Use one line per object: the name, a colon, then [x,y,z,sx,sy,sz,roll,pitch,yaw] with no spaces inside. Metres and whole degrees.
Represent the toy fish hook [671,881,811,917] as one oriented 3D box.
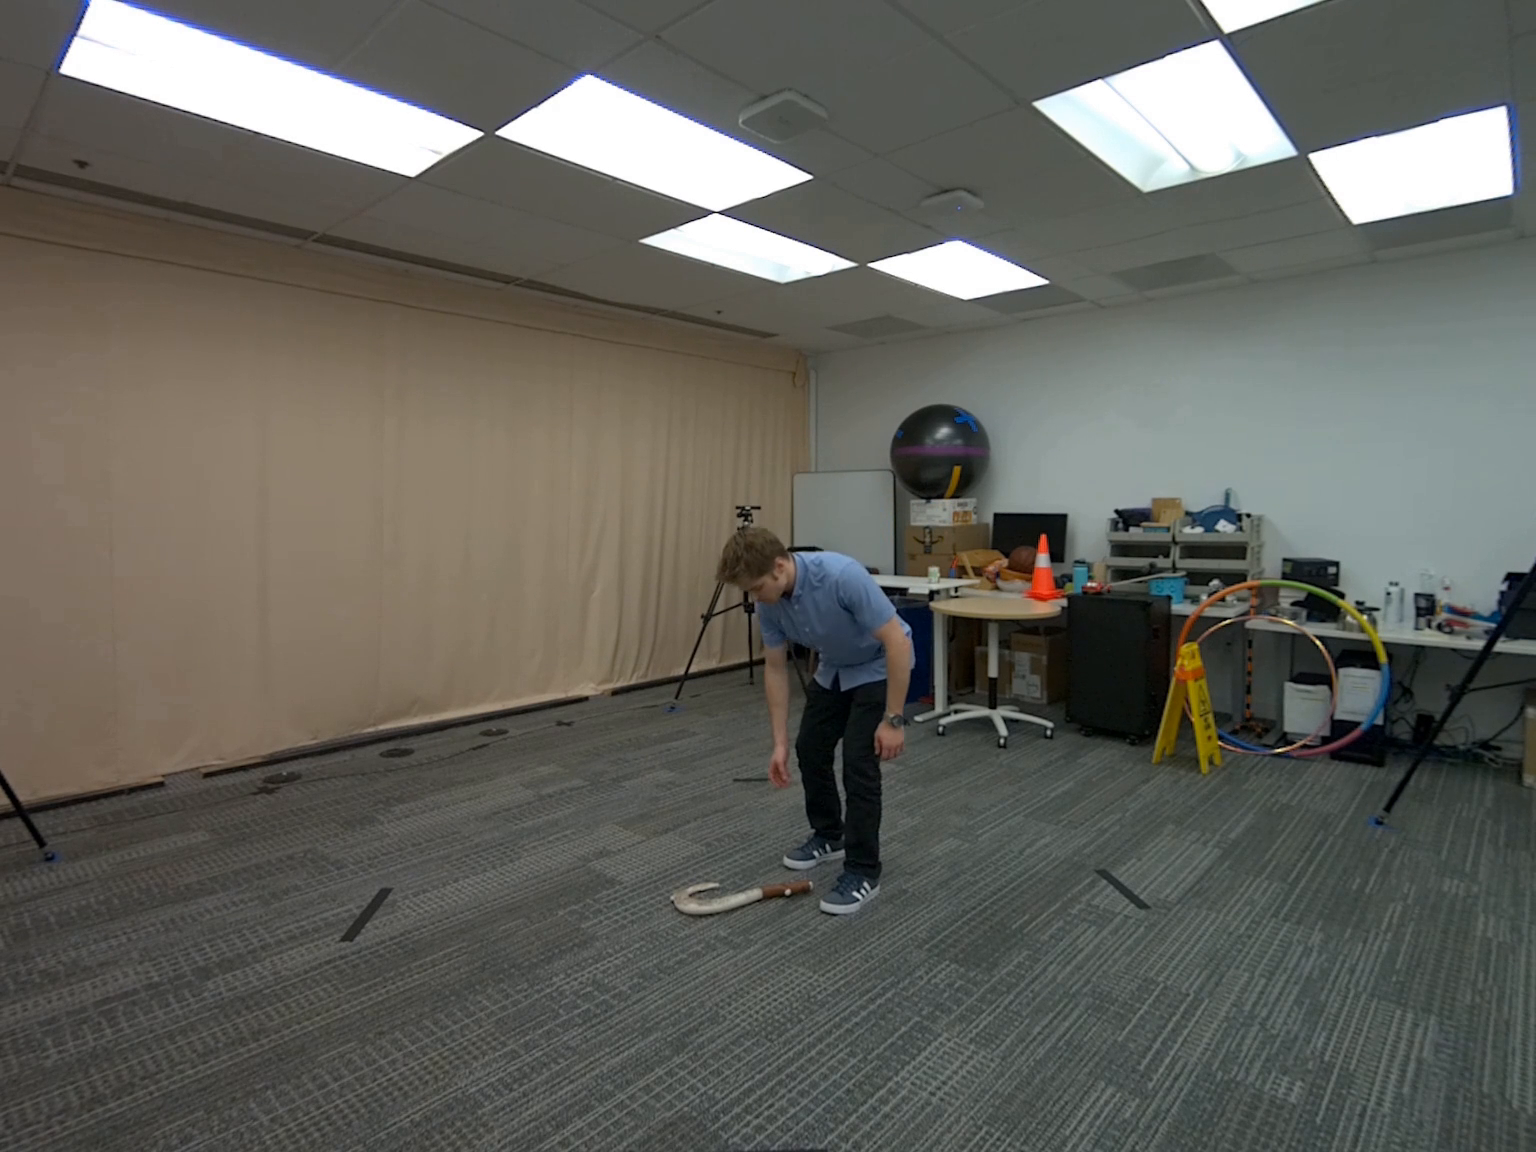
toy fish hook: [-0.090,1.125,2.999,0.497,0.048,0.229,-1,5,-19]
